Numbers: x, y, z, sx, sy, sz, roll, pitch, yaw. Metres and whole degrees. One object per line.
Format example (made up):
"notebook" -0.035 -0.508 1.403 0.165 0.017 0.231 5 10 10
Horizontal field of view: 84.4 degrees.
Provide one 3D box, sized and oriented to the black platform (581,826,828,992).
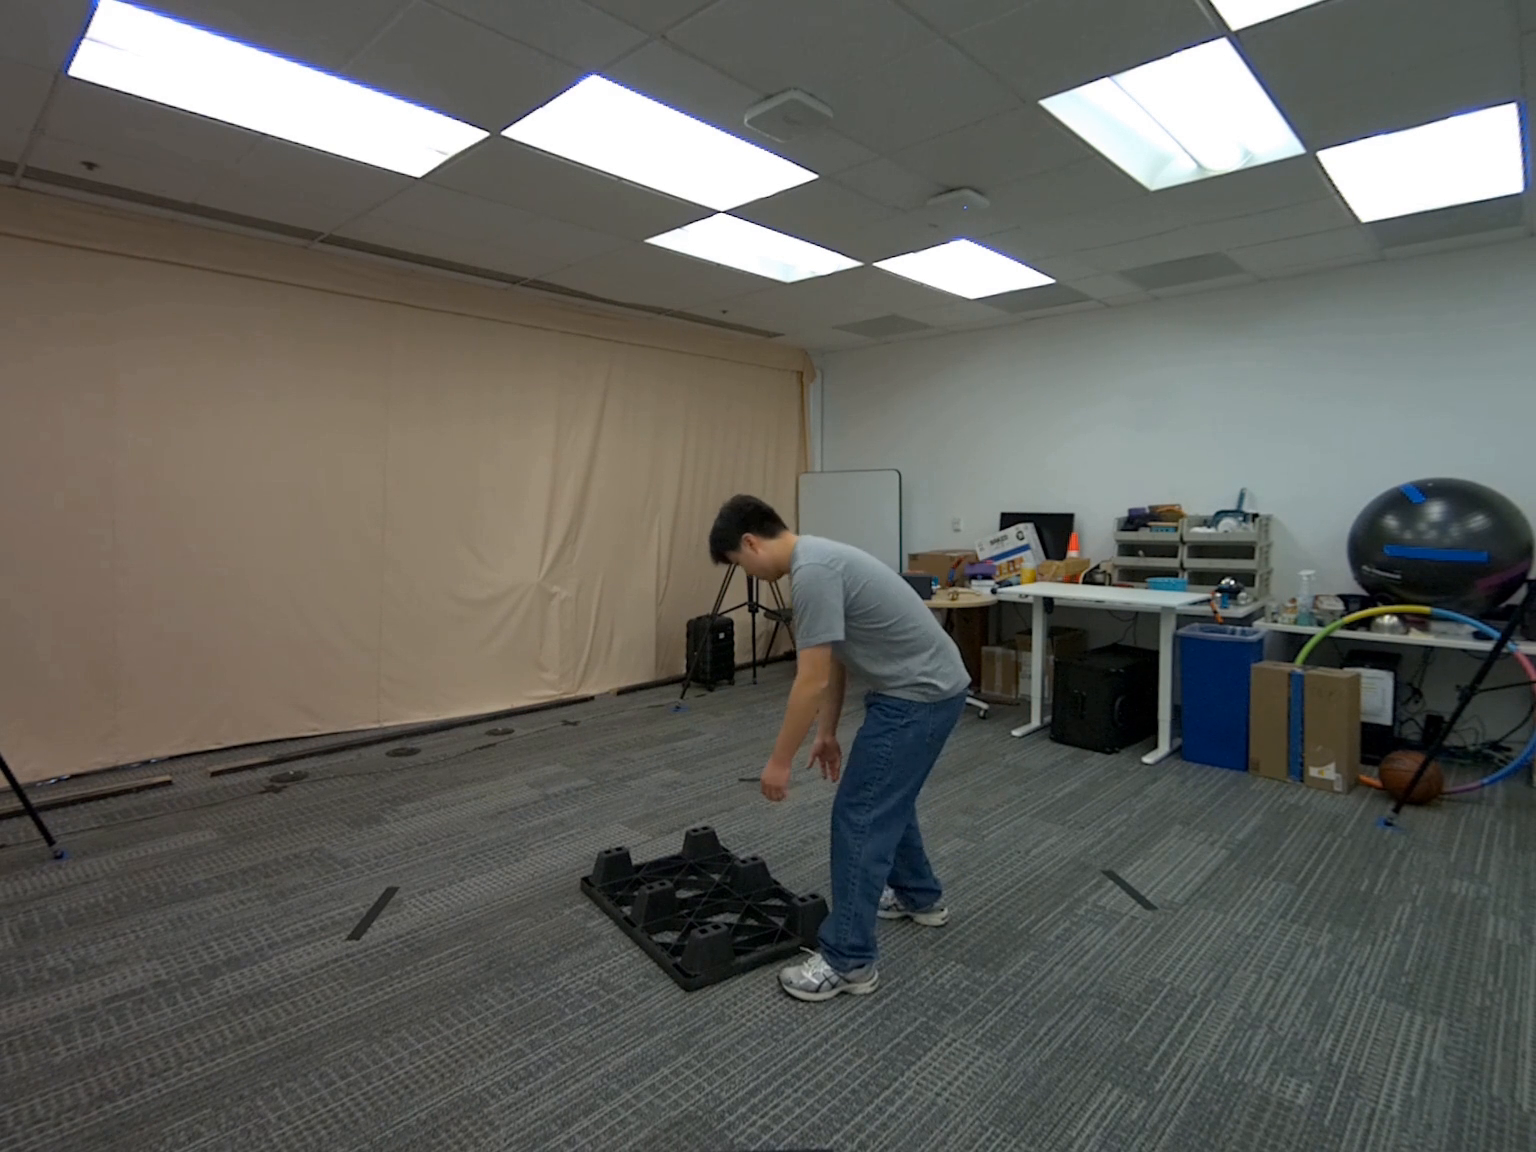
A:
"black platform" -0.210 1.087 2.888 0.588 0.143 0.831 -4 6 -34
